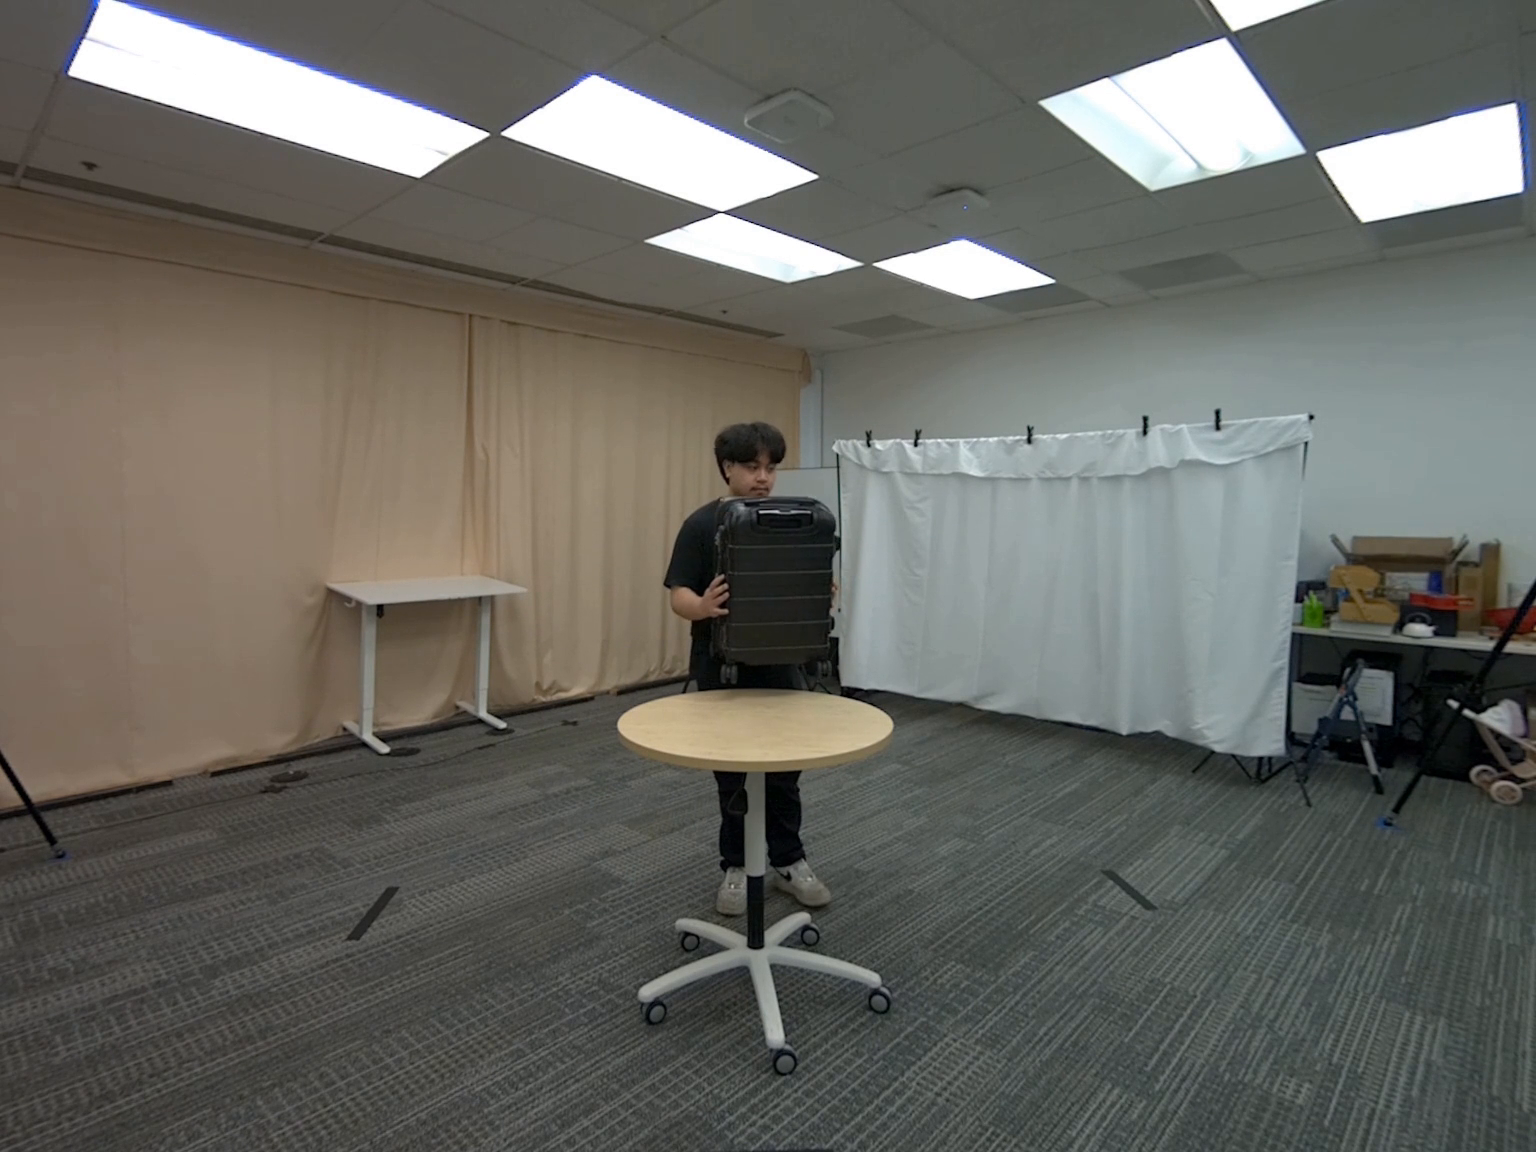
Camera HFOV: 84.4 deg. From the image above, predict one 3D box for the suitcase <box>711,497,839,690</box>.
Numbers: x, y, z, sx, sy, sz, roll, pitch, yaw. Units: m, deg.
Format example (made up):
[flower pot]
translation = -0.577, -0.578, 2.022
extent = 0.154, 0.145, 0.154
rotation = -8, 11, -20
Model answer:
[suitcase]
translation = 0.017, 0.026, 2.649
extent = 0.371, 0.545, 0.253
rotation = -1, 13, -11
